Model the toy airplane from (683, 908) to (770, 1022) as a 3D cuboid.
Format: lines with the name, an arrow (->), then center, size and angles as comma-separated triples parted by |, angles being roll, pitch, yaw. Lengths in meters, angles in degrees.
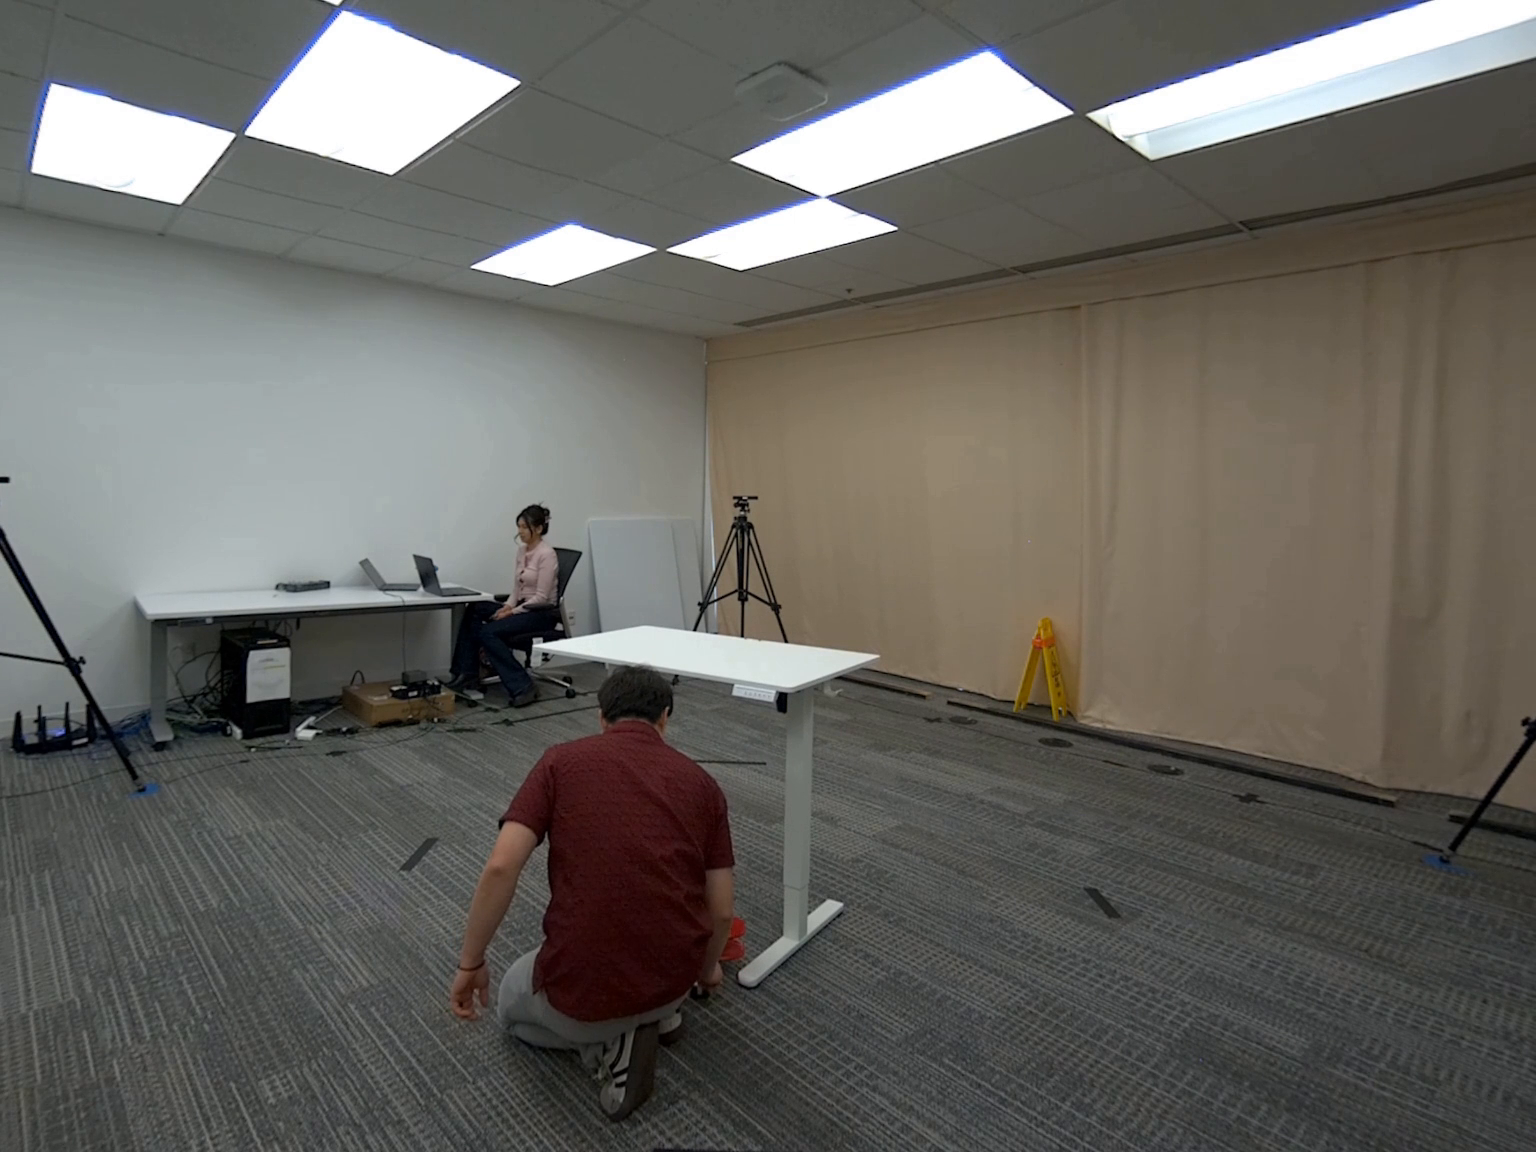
toy airplane -> -0.172, 1.093, 2.430 | 0.246, 0.156, 0.265 | -4, 6, -29
